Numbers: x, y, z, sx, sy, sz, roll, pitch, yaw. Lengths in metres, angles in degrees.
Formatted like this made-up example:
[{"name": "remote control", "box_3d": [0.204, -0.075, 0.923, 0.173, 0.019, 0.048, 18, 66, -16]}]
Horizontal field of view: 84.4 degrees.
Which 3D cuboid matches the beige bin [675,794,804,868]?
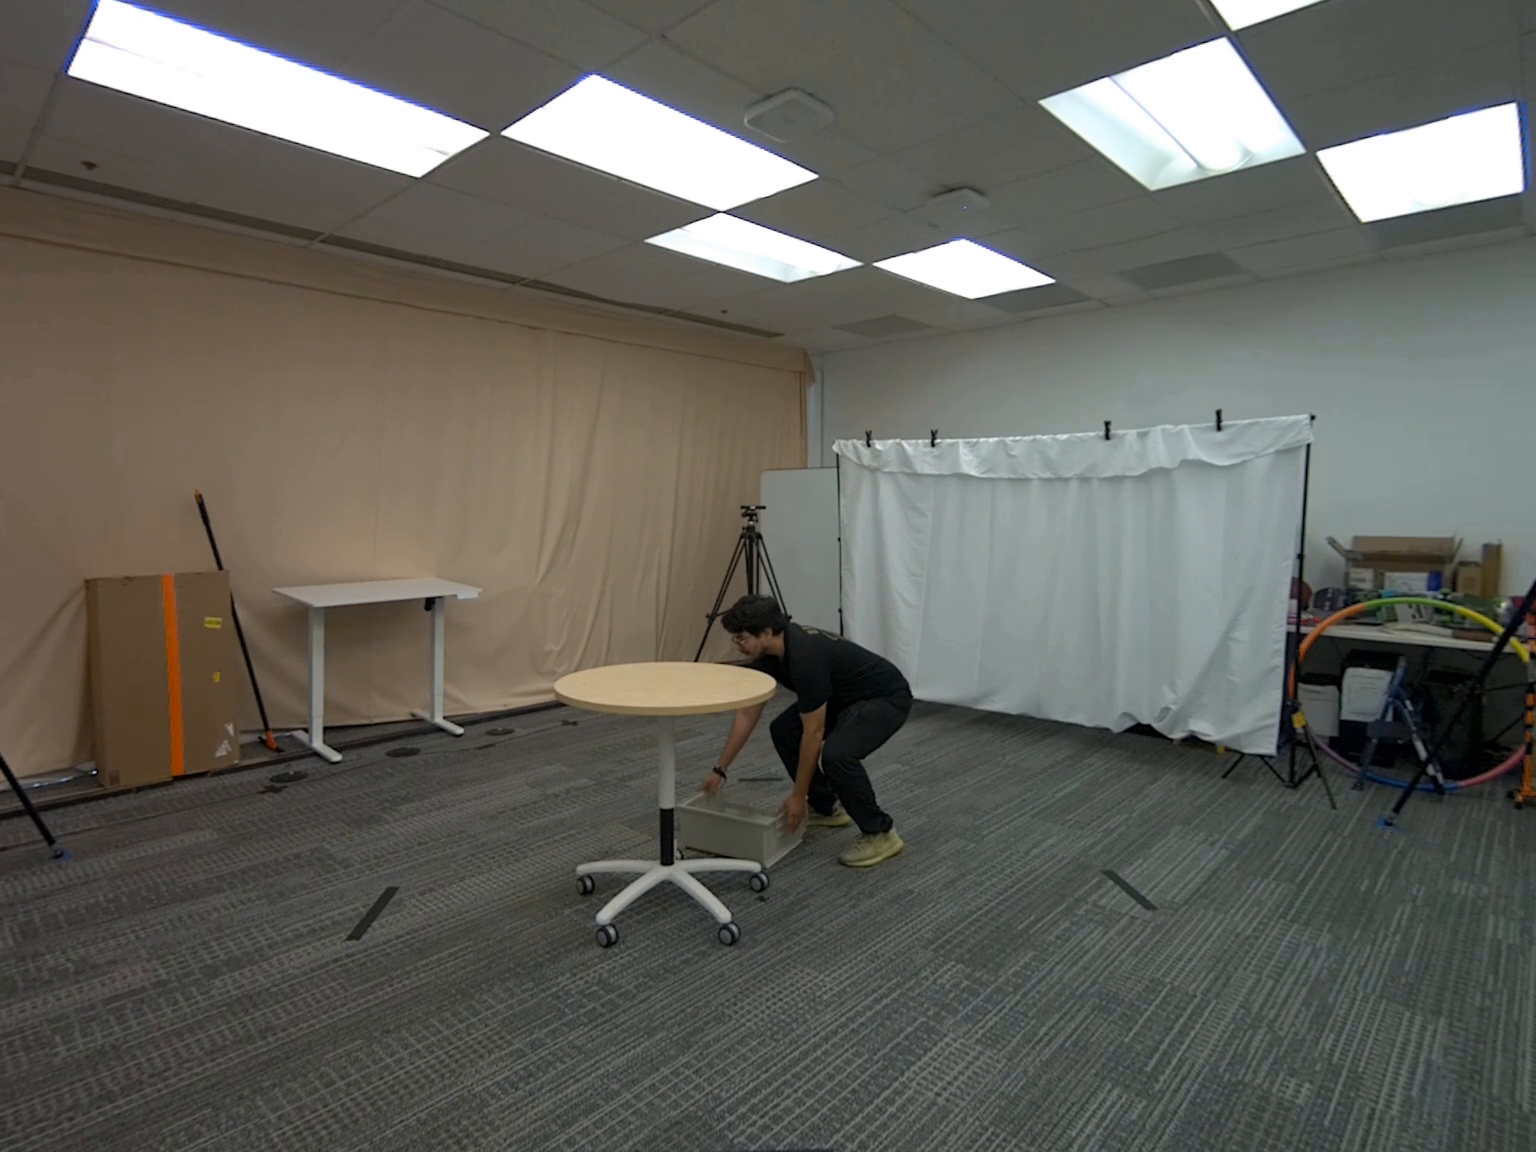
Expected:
[{"name": "beige bin", "box_3d": [-0.104, 1.018, 3.476, 0.434, 0.188, 0.368, 1, 6, 29]}]
